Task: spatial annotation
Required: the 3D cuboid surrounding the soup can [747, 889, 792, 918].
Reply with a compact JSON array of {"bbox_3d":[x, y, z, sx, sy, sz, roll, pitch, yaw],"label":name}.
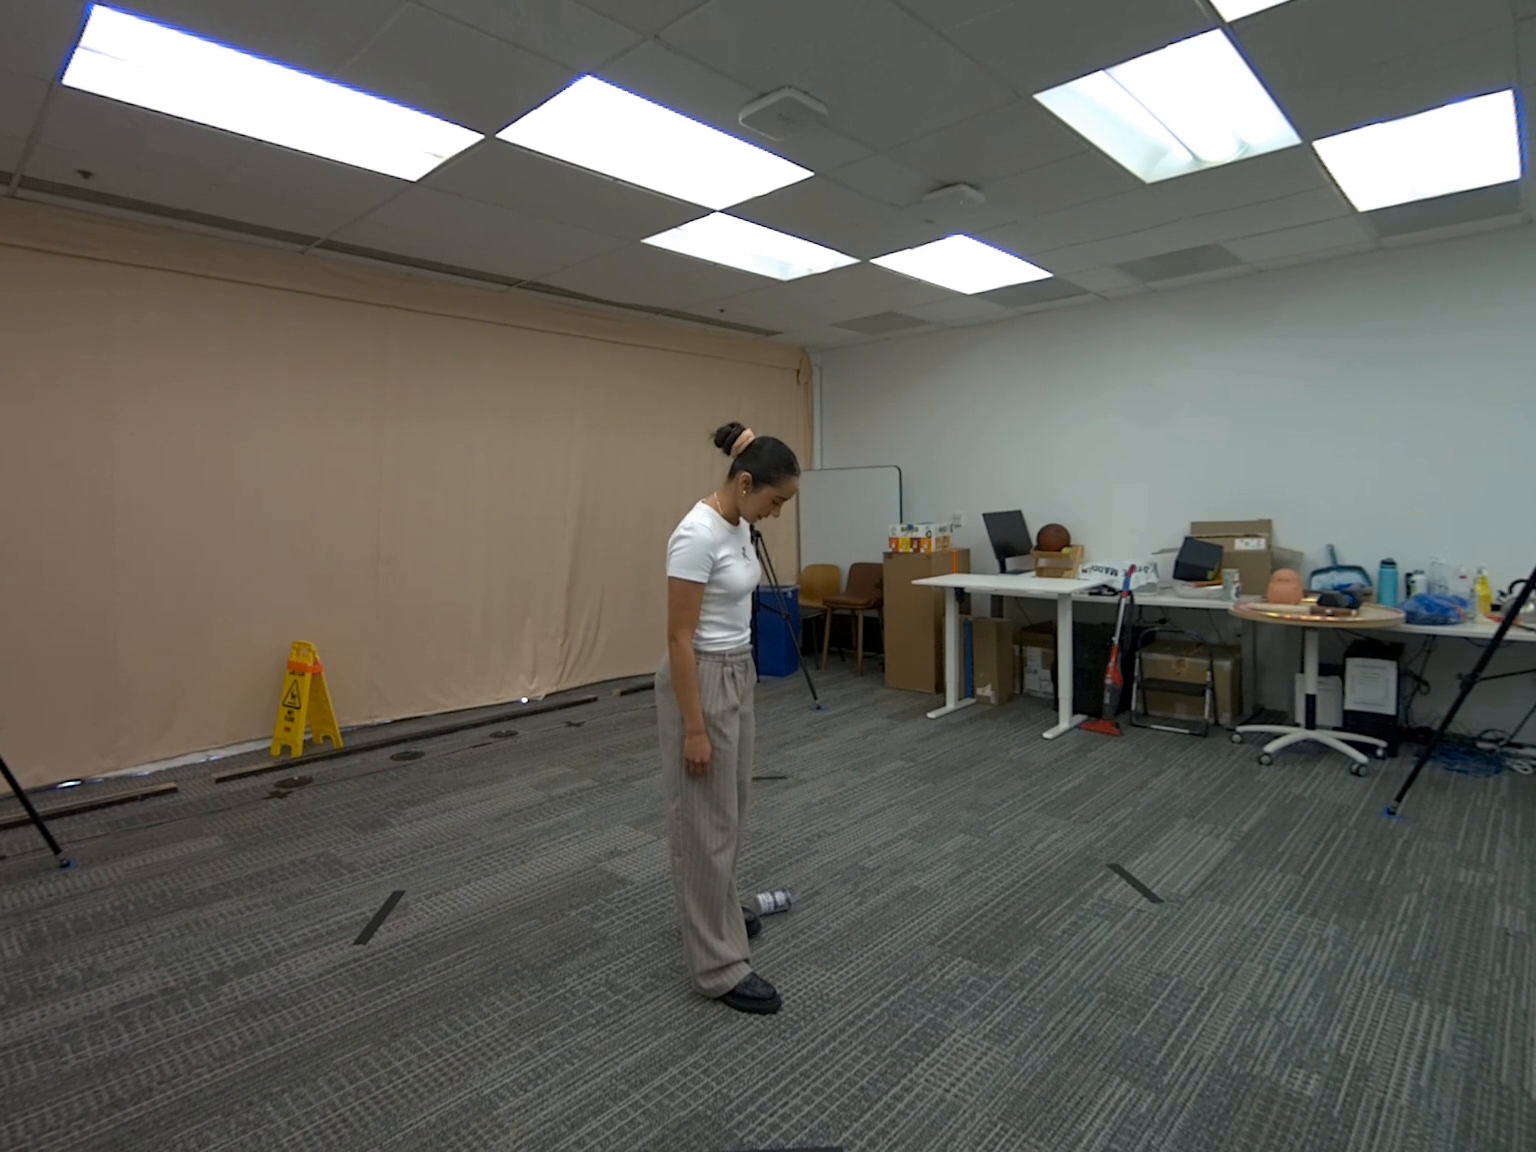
[{"bbox_3d":[0.017,1.110,2.868,0.120,0.067,0.068,1,3,-12],"label":"soup can"}]
